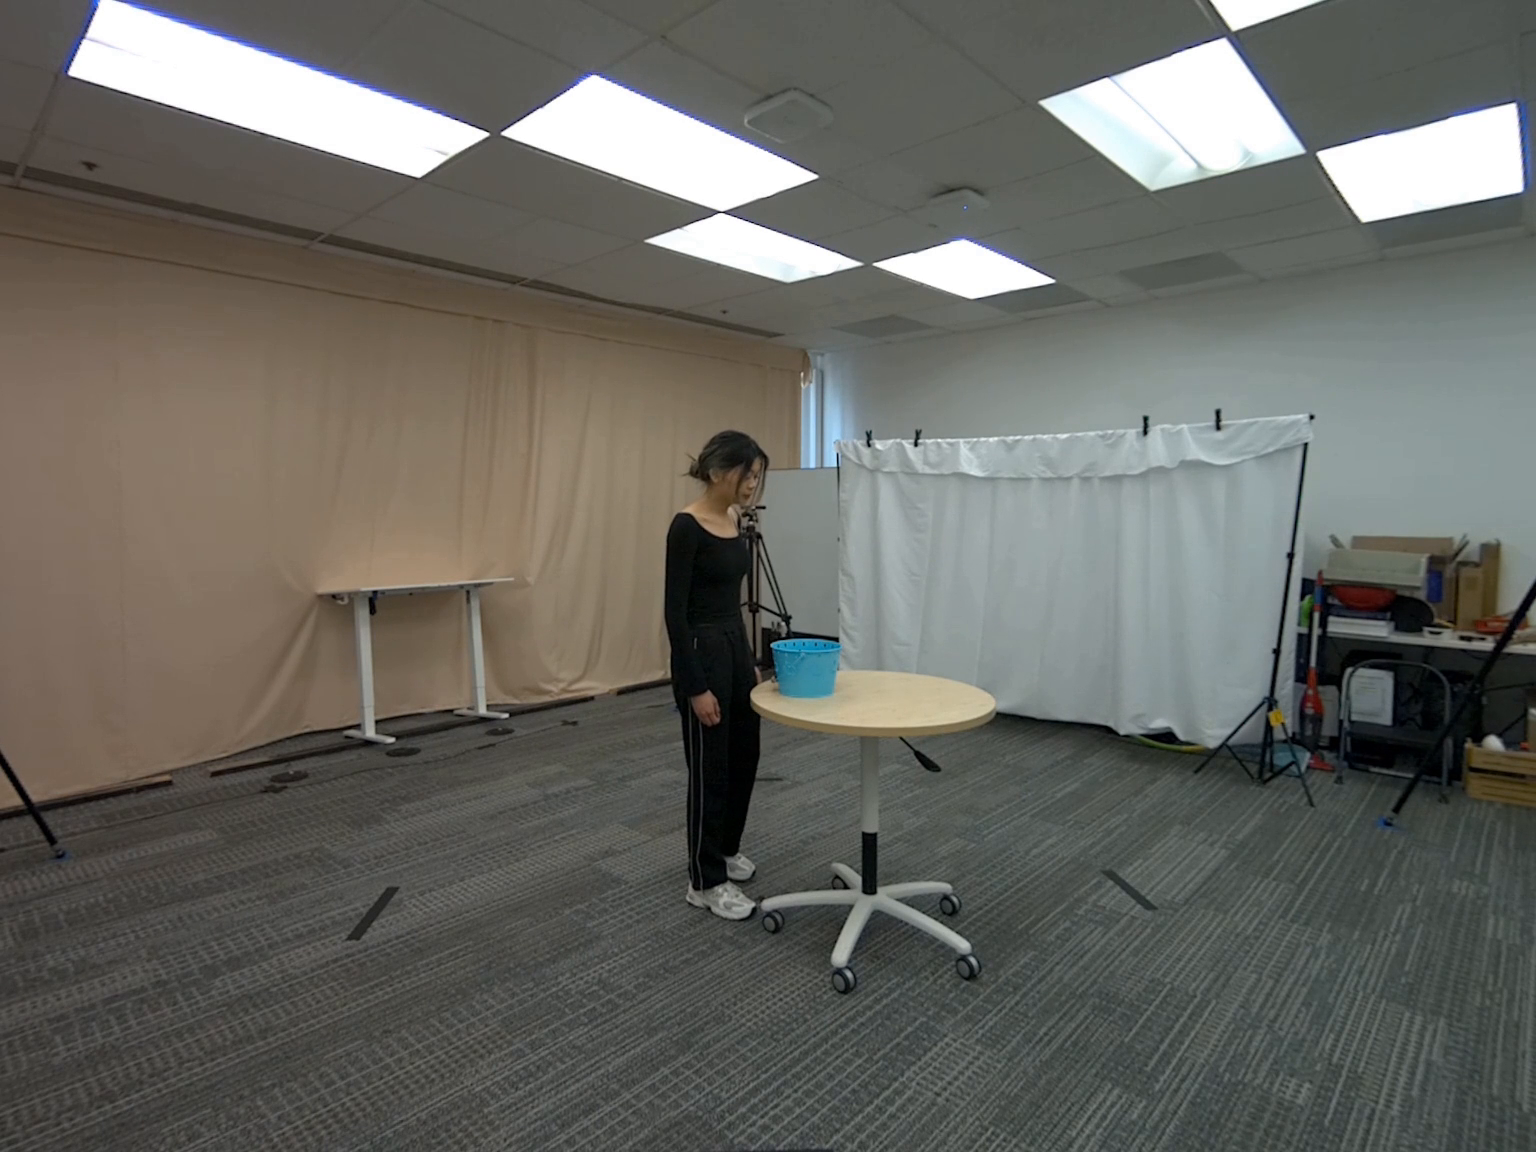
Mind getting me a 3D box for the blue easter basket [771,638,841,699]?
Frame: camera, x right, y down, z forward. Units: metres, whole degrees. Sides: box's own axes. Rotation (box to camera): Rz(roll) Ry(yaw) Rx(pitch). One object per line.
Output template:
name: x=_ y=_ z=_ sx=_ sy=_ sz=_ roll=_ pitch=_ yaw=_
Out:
blue easter basket: x=0.123 y=0.303 z=2.734 sx=0.243 sy=0.155 sz=0.244 roll=0 pitch=5 yaw=-2
